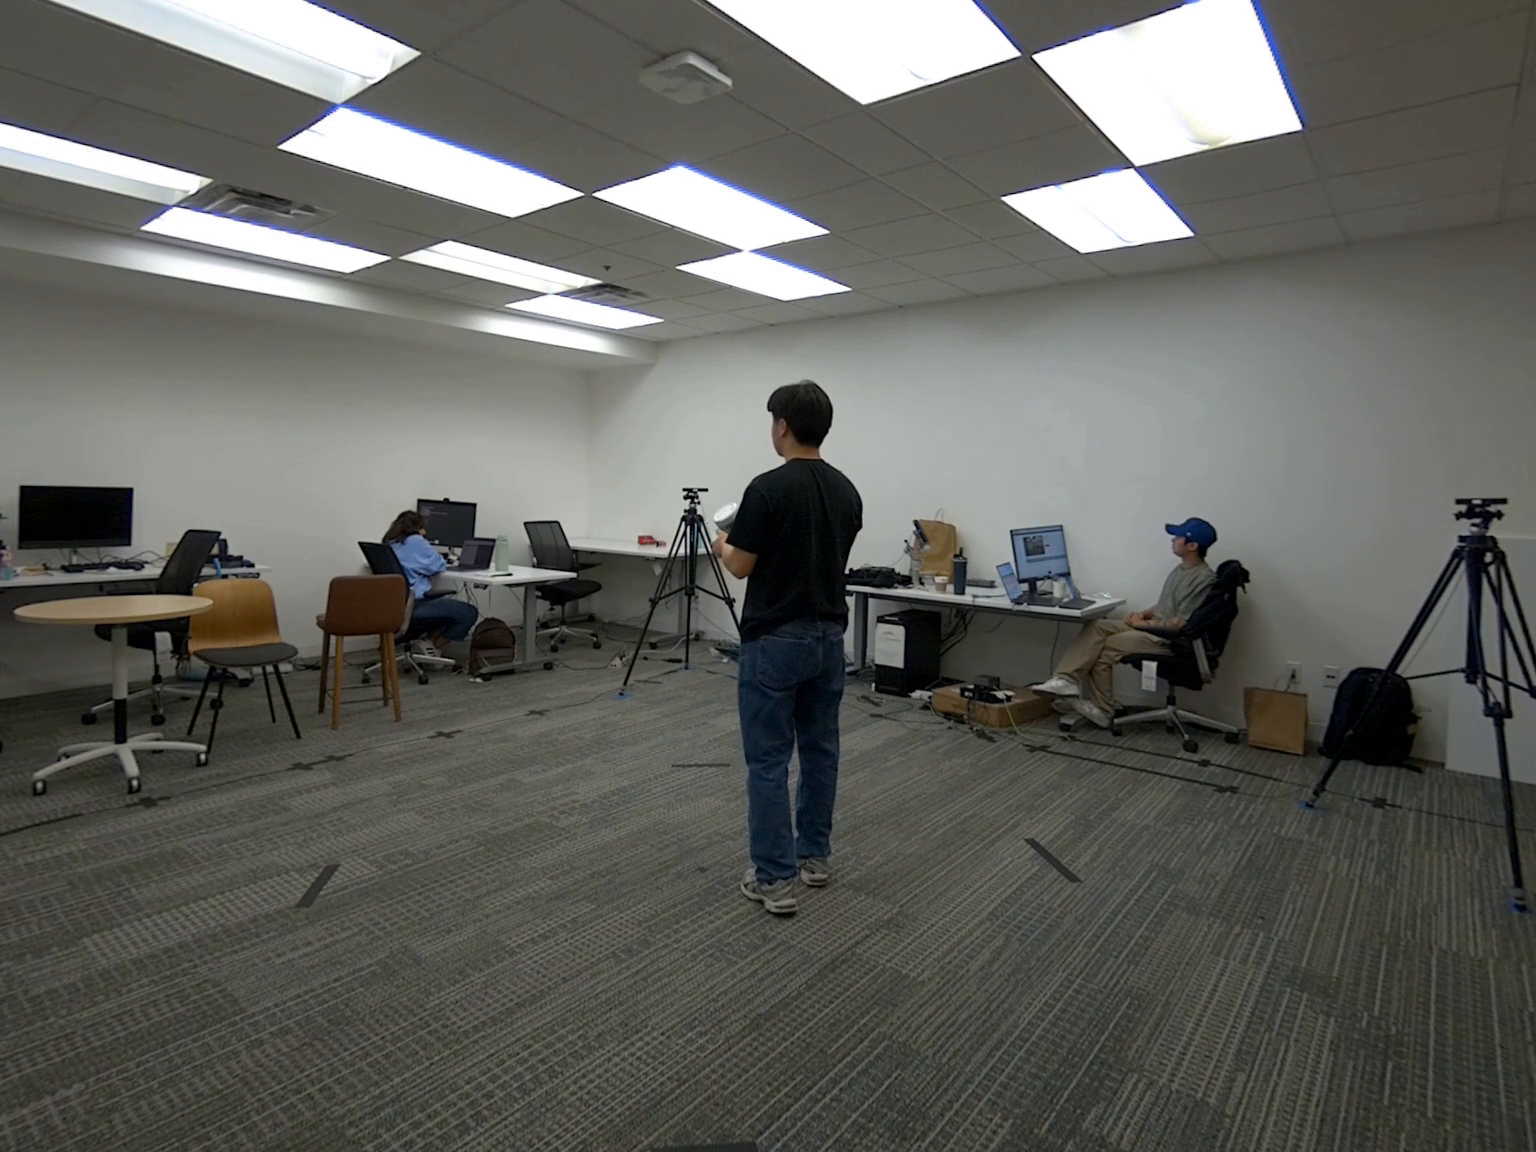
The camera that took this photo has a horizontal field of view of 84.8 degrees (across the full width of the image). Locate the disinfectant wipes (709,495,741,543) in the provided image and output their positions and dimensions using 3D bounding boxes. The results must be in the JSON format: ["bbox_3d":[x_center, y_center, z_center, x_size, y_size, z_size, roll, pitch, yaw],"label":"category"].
[{"bbox_3d":[-0.124,-0.178,3.283,0.118,0.210,0.121,-27,29,15],"label":"disinfectant wipes"}]
